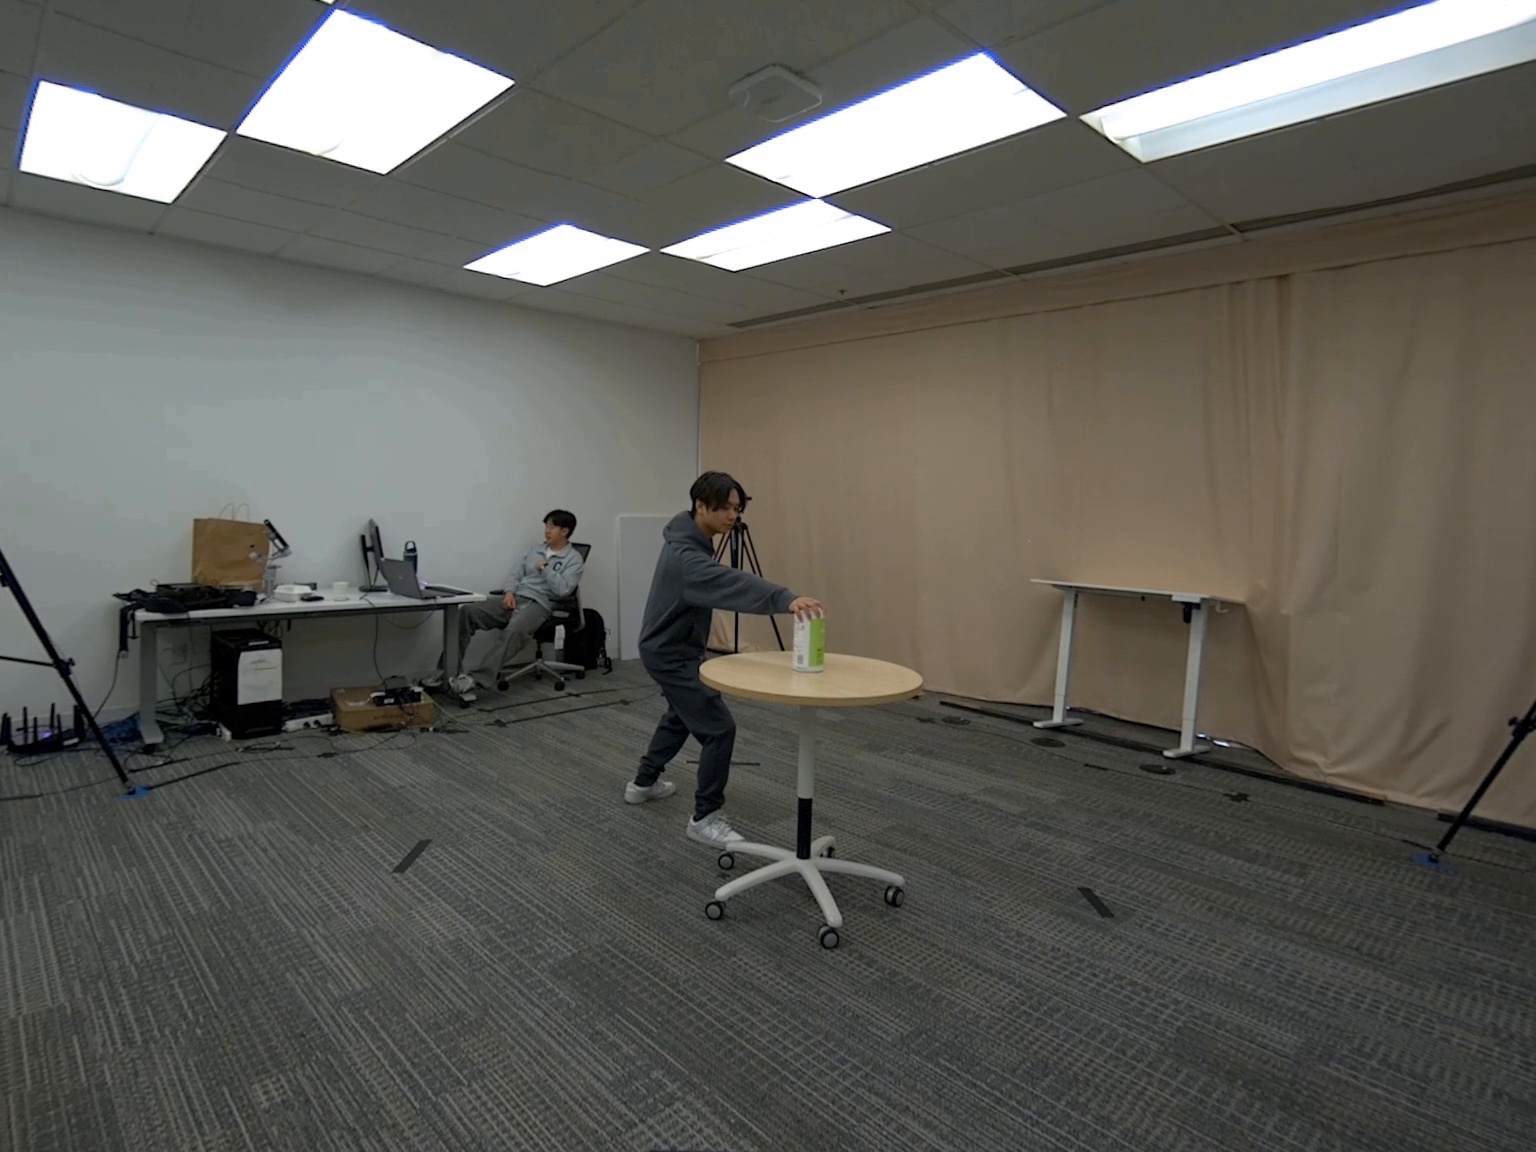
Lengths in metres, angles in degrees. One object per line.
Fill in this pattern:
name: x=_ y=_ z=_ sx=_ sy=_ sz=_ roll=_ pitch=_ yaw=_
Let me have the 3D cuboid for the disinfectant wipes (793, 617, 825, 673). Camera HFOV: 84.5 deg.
disinfectant wipes: x=0.135 y=0.226 z=2.940 sx=0.118 sy=0.217 sz=0.118 roll=1 pitch=3 yaw=-1
